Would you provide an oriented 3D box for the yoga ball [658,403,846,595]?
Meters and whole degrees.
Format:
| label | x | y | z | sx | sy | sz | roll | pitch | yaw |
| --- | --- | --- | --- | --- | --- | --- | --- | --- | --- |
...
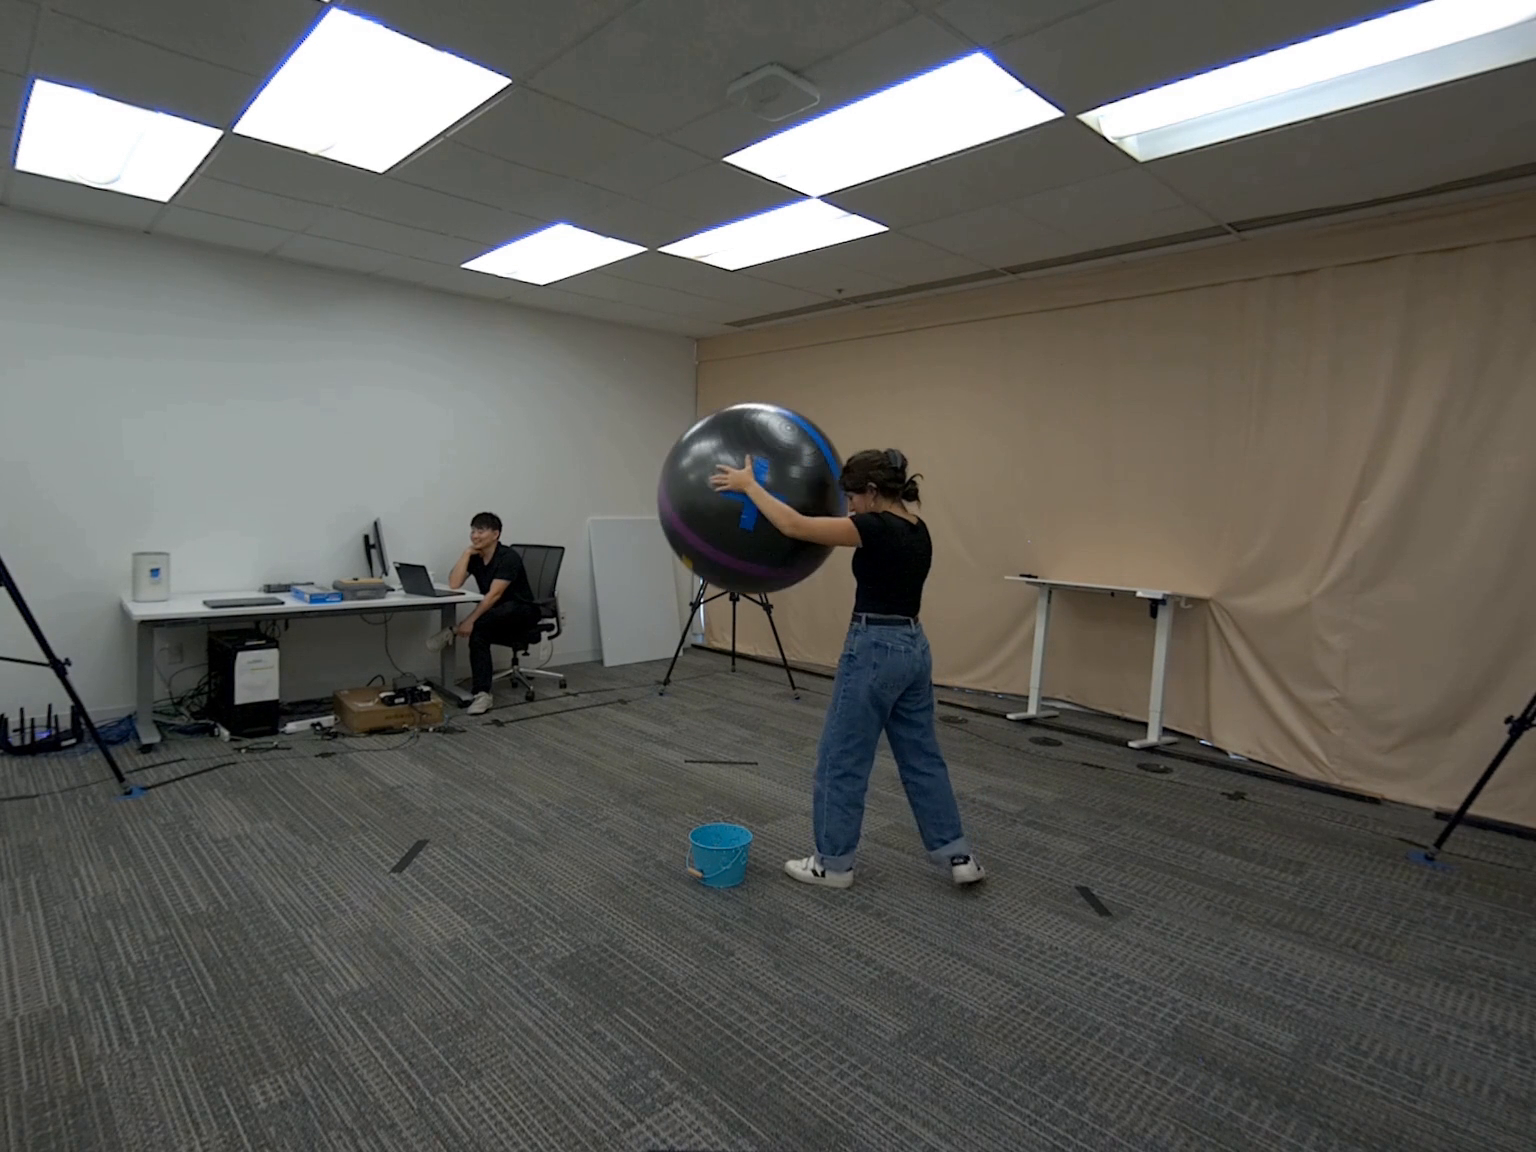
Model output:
| label | x | y | z | sx | sy | sz | roll | pitch | yaw |
| --- | --- | --- | --- | --- | --- | --- | --- | --- | --- |
| yoga ball | -0.053 | -0.299 | 3.343 | 0.757 | 0.756 | 0.760 | 1 | 4 | -1 |
